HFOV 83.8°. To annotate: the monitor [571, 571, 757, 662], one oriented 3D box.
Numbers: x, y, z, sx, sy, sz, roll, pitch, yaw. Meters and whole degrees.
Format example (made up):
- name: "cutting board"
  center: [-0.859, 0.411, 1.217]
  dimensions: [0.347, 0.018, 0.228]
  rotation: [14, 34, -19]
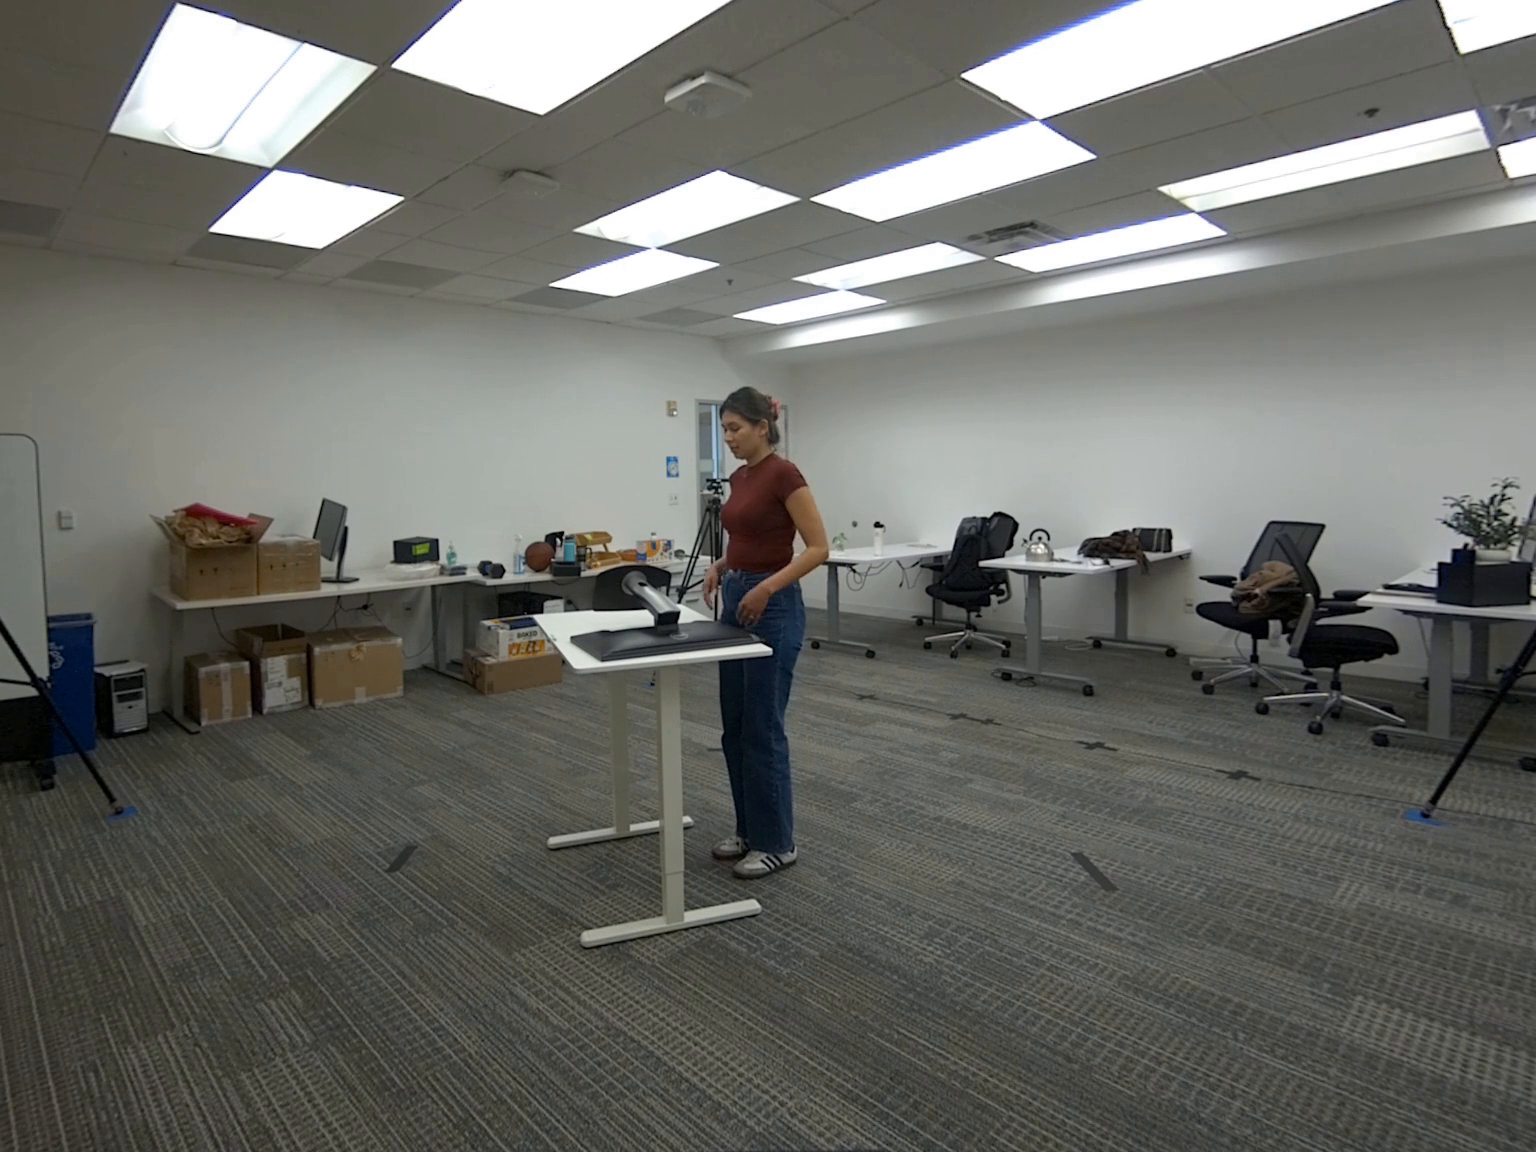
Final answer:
- name: "monitor"
  center: [-0.360, 0.144, 2.799]
  dimensions: [0.528, 0.184, 0.542]
  rotation: [-5, 24, -25]
